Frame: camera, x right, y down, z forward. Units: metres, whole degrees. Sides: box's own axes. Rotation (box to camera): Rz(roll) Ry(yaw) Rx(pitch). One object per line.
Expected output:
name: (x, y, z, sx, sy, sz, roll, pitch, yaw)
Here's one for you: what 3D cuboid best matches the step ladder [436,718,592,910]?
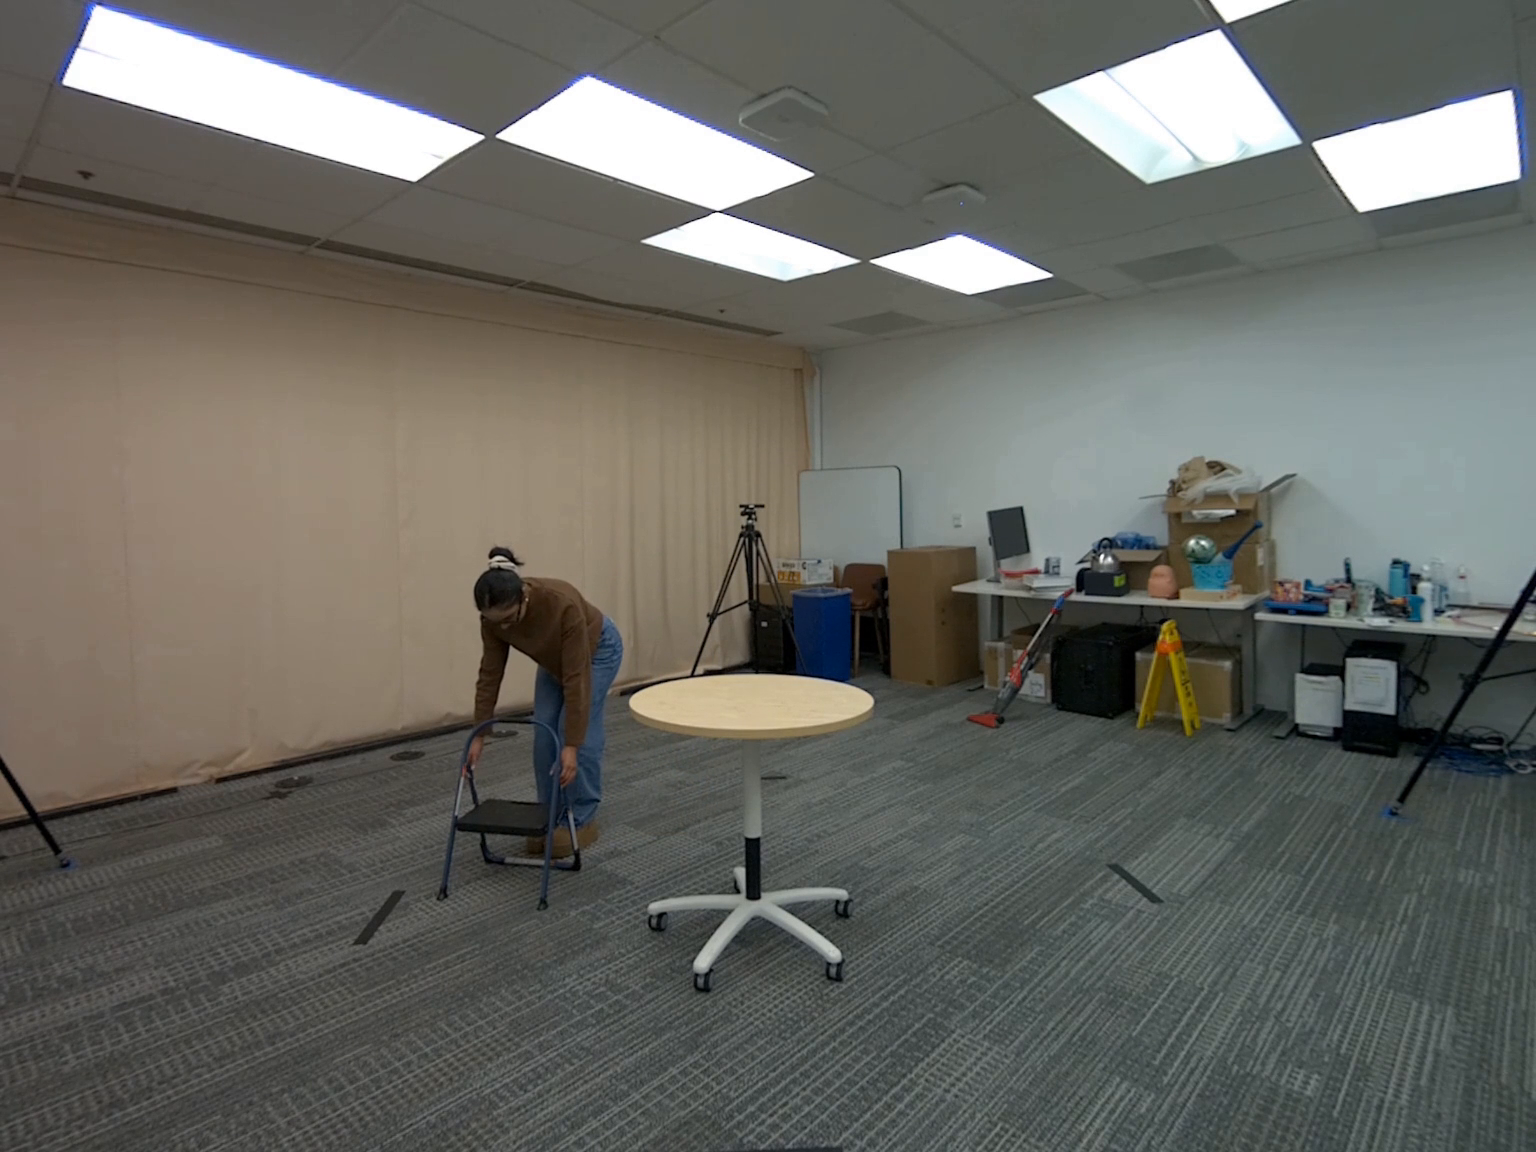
step ladder: (-0.958, 0.847, 3.132, 0.437, 0.605, 0.345, 0, 3, 13)
